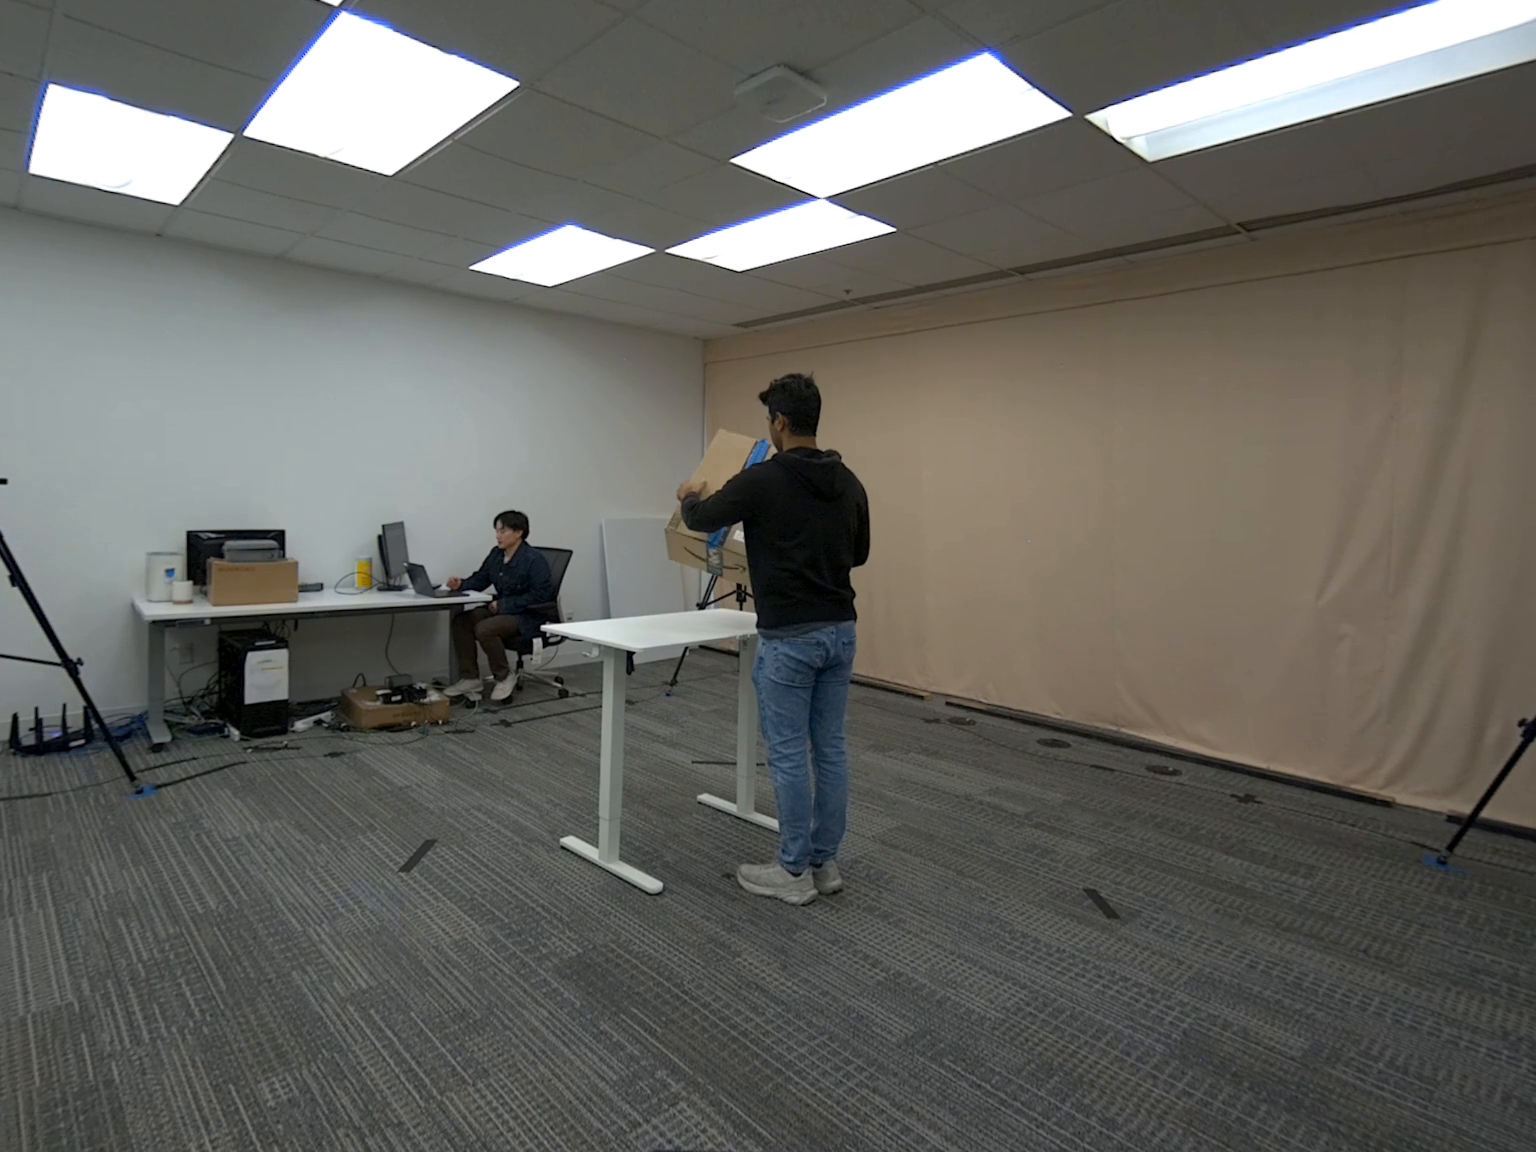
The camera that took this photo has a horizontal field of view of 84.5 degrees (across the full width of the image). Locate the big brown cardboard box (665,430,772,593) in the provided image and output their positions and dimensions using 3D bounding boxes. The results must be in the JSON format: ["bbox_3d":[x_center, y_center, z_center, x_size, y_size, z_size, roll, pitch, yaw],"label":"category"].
[{"bbox_3d":[-0.119,-0.267,3.436,0.423,0.594,0.228,17,-33,12],"label":"big brown cardboard box"}]
